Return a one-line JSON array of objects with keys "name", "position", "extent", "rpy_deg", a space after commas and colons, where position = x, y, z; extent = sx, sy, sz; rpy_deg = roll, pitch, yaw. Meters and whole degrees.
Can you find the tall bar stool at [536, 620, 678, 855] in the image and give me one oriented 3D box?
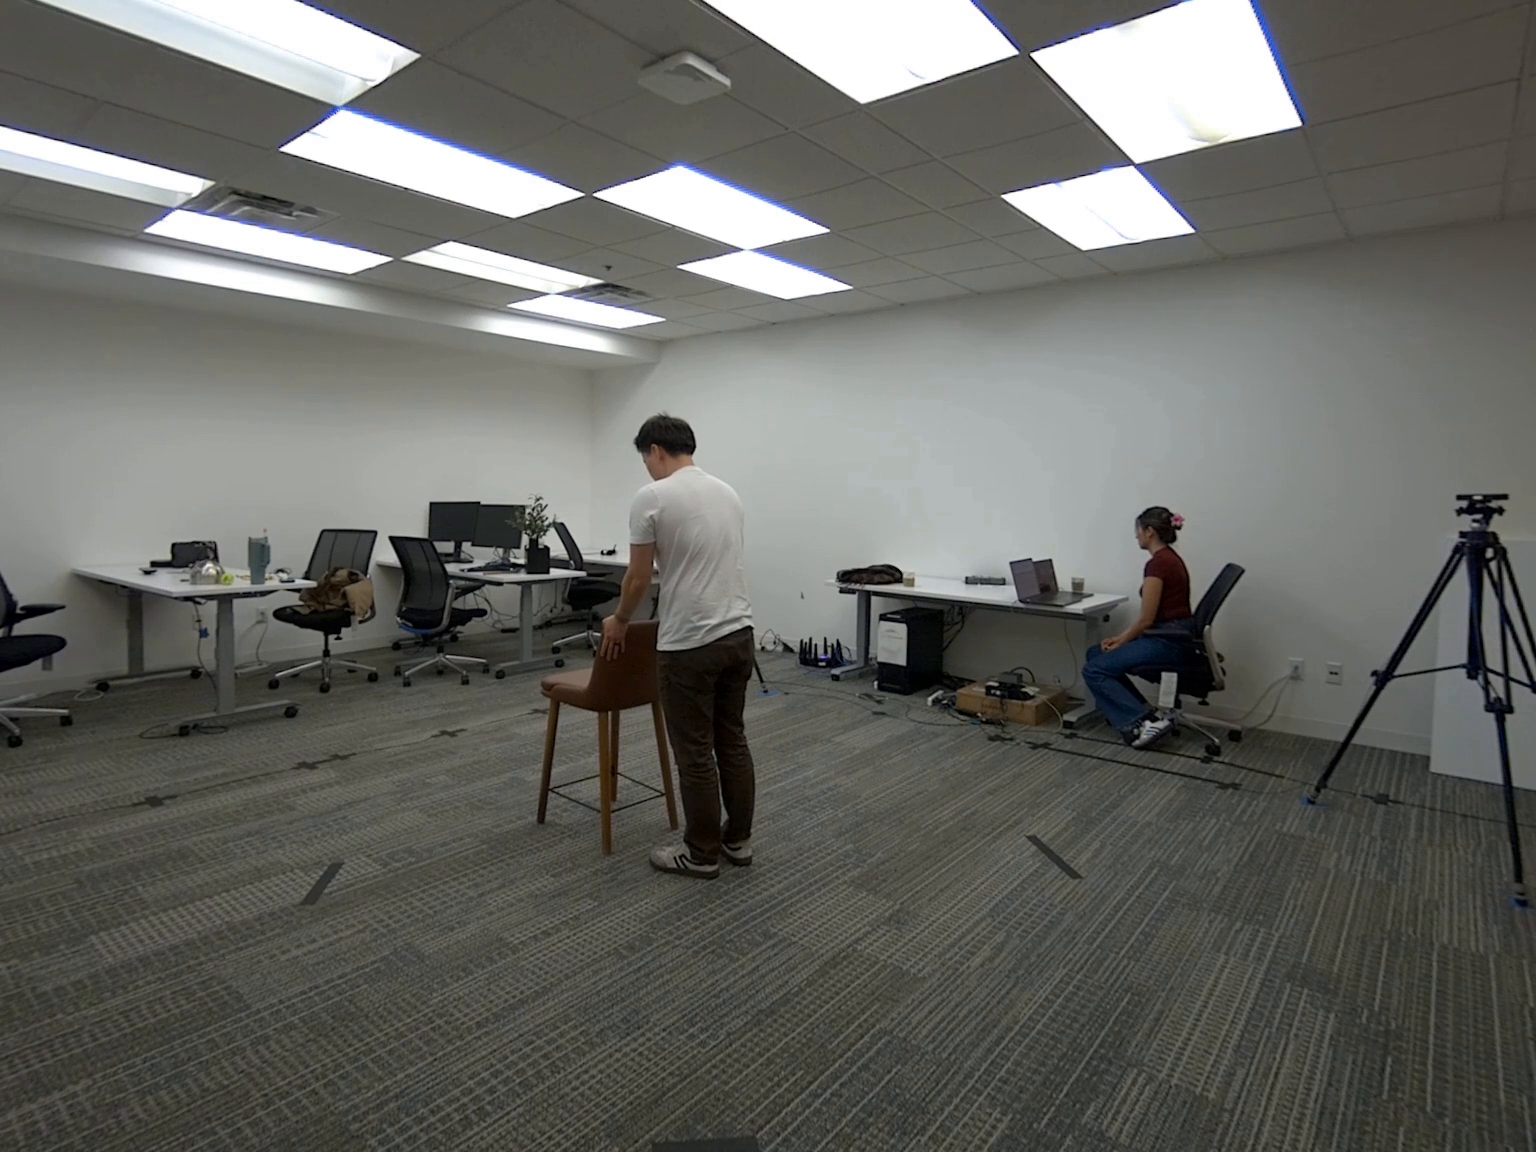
[{"name": "tall bar stool", "position": [-0.654, 0.588, 3.466], "extent": [0.484, 0.886, 0.442], "rpy_deg": [6, 6, 43]}]
